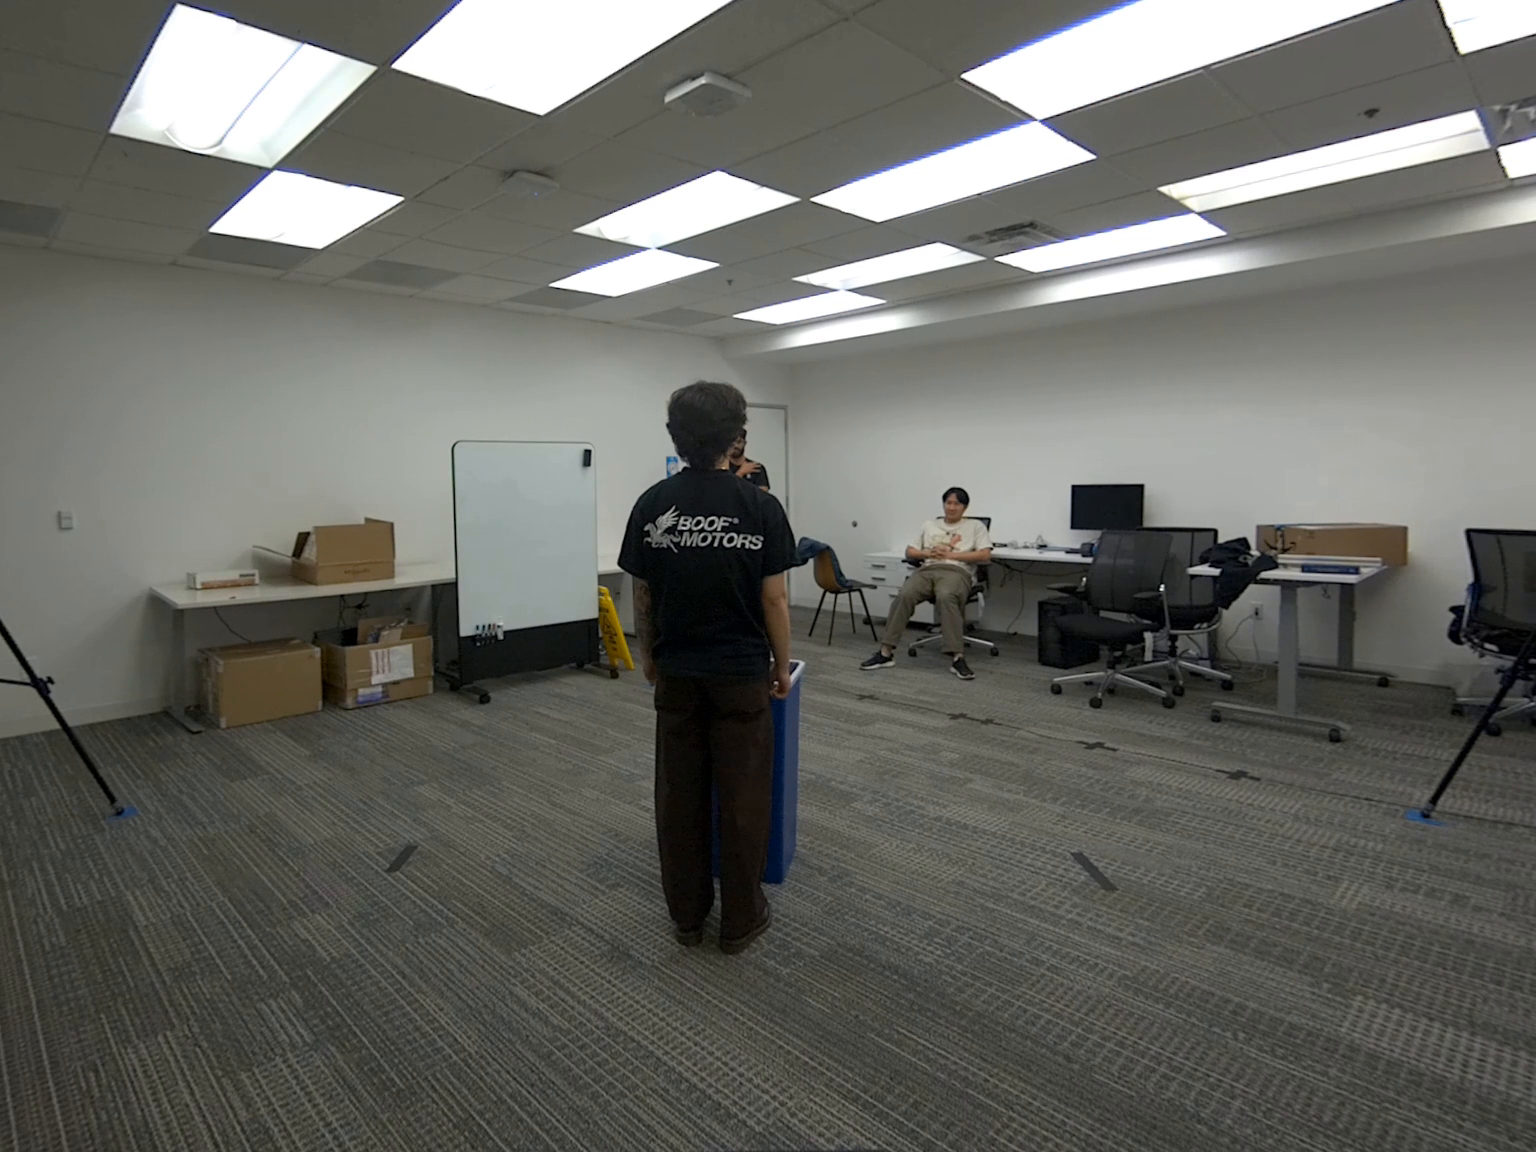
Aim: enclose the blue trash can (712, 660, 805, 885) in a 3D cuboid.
[{"bbox_3d":[-0.063,0.687,3.098,0.379,0.711,0.374,0,4,12],"label":"blue trash can"}]
